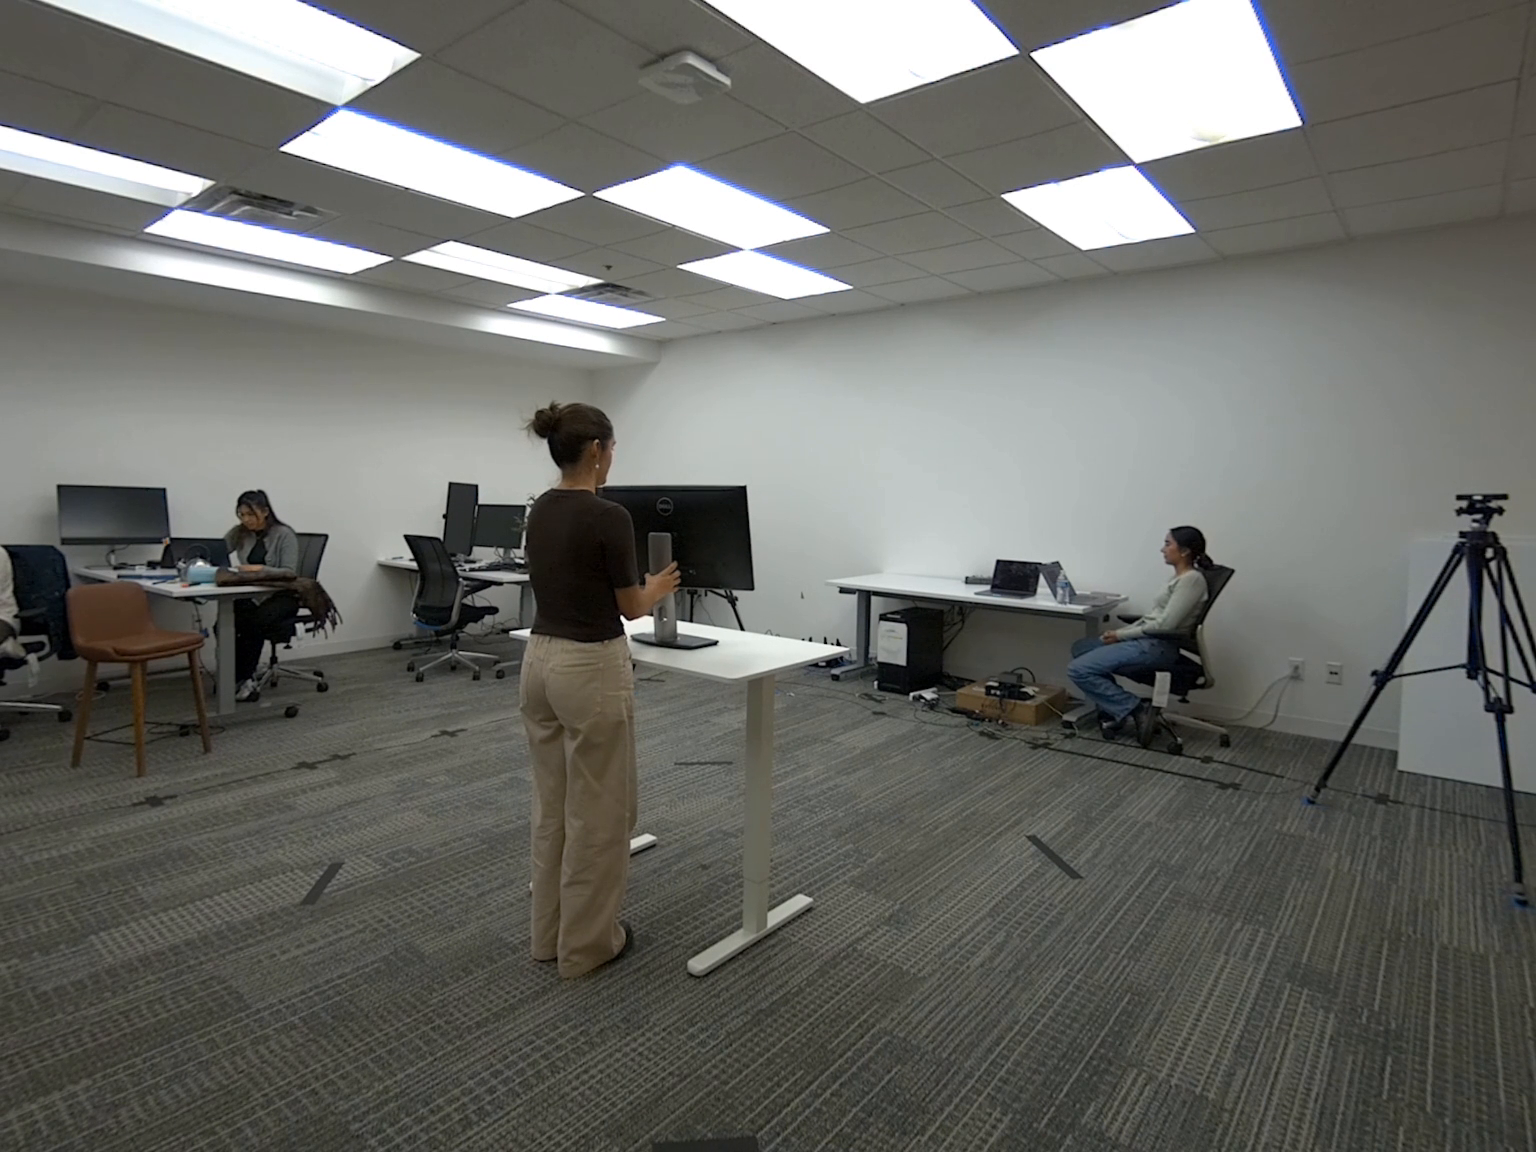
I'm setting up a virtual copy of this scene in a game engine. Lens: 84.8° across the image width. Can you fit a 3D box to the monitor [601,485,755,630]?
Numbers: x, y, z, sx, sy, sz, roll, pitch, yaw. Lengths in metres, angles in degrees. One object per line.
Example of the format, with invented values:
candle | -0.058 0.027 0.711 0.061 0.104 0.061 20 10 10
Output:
monitor | -0.328 -0.038 2.768 0.549 0.520 0.184 1 5 18
